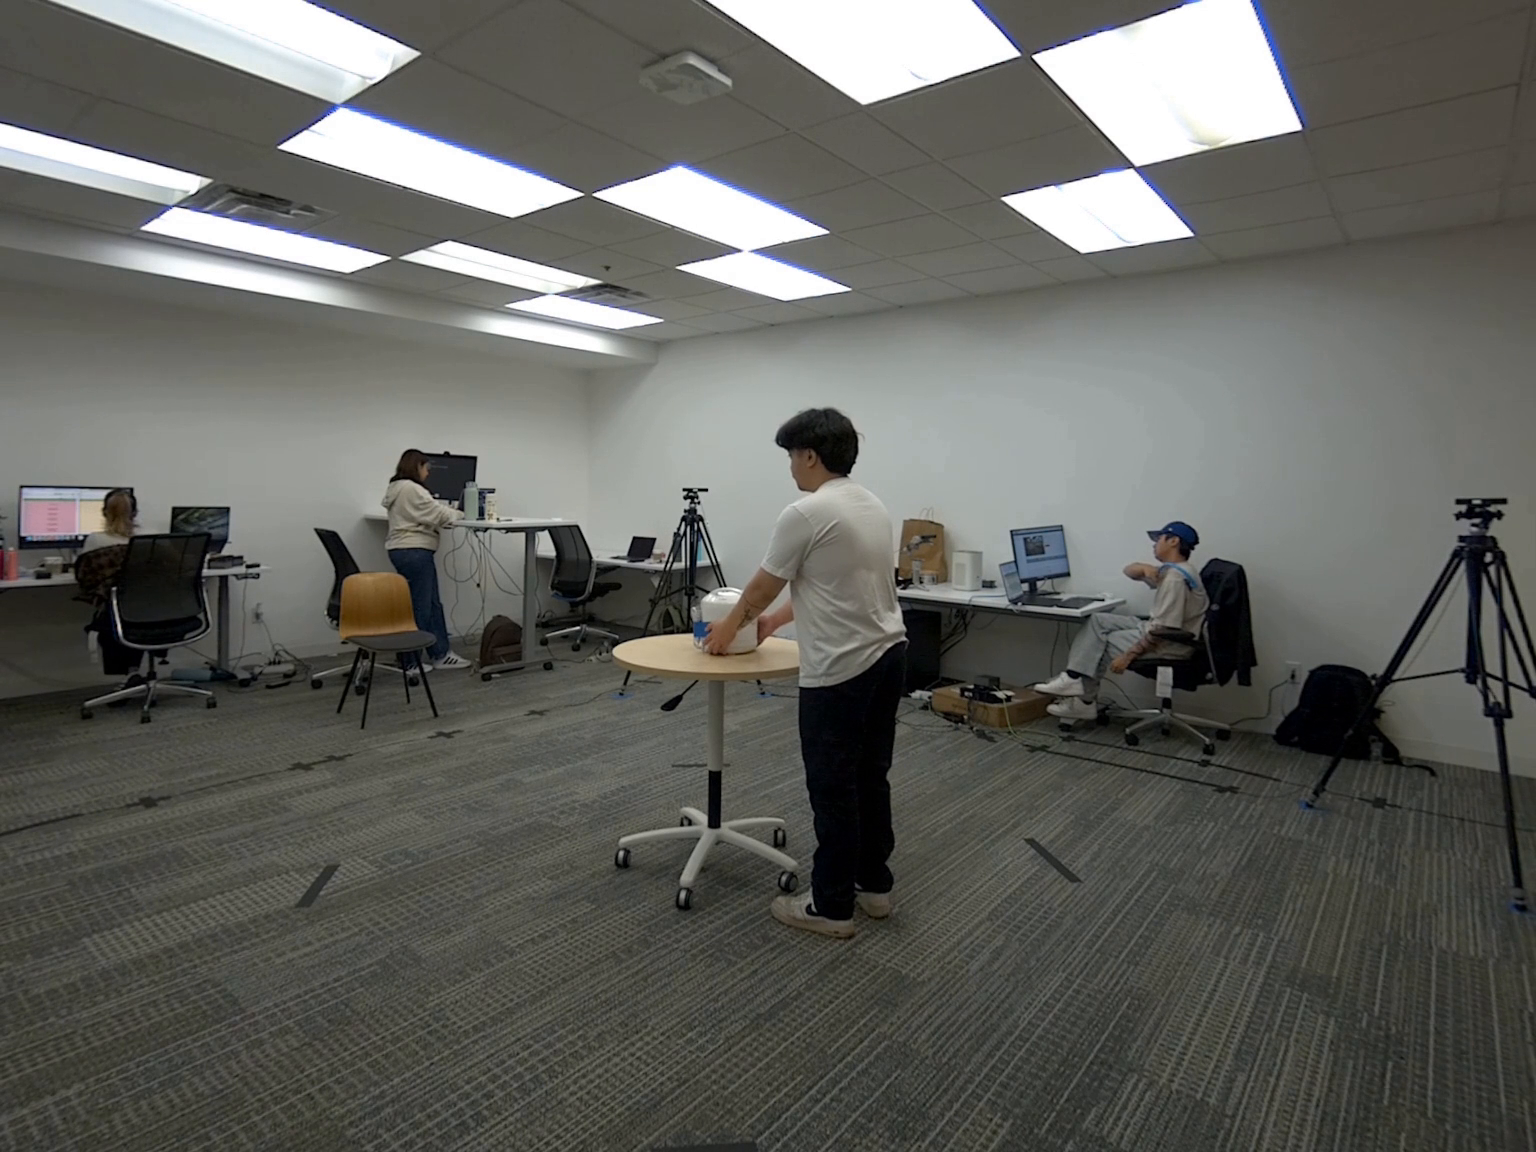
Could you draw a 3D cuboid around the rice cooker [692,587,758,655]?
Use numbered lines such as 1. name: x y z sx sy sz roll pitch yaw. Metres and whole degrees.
1. rice cooker: -0.164 0.156 3.138 0.227 0.232 0.212 3 5 28
